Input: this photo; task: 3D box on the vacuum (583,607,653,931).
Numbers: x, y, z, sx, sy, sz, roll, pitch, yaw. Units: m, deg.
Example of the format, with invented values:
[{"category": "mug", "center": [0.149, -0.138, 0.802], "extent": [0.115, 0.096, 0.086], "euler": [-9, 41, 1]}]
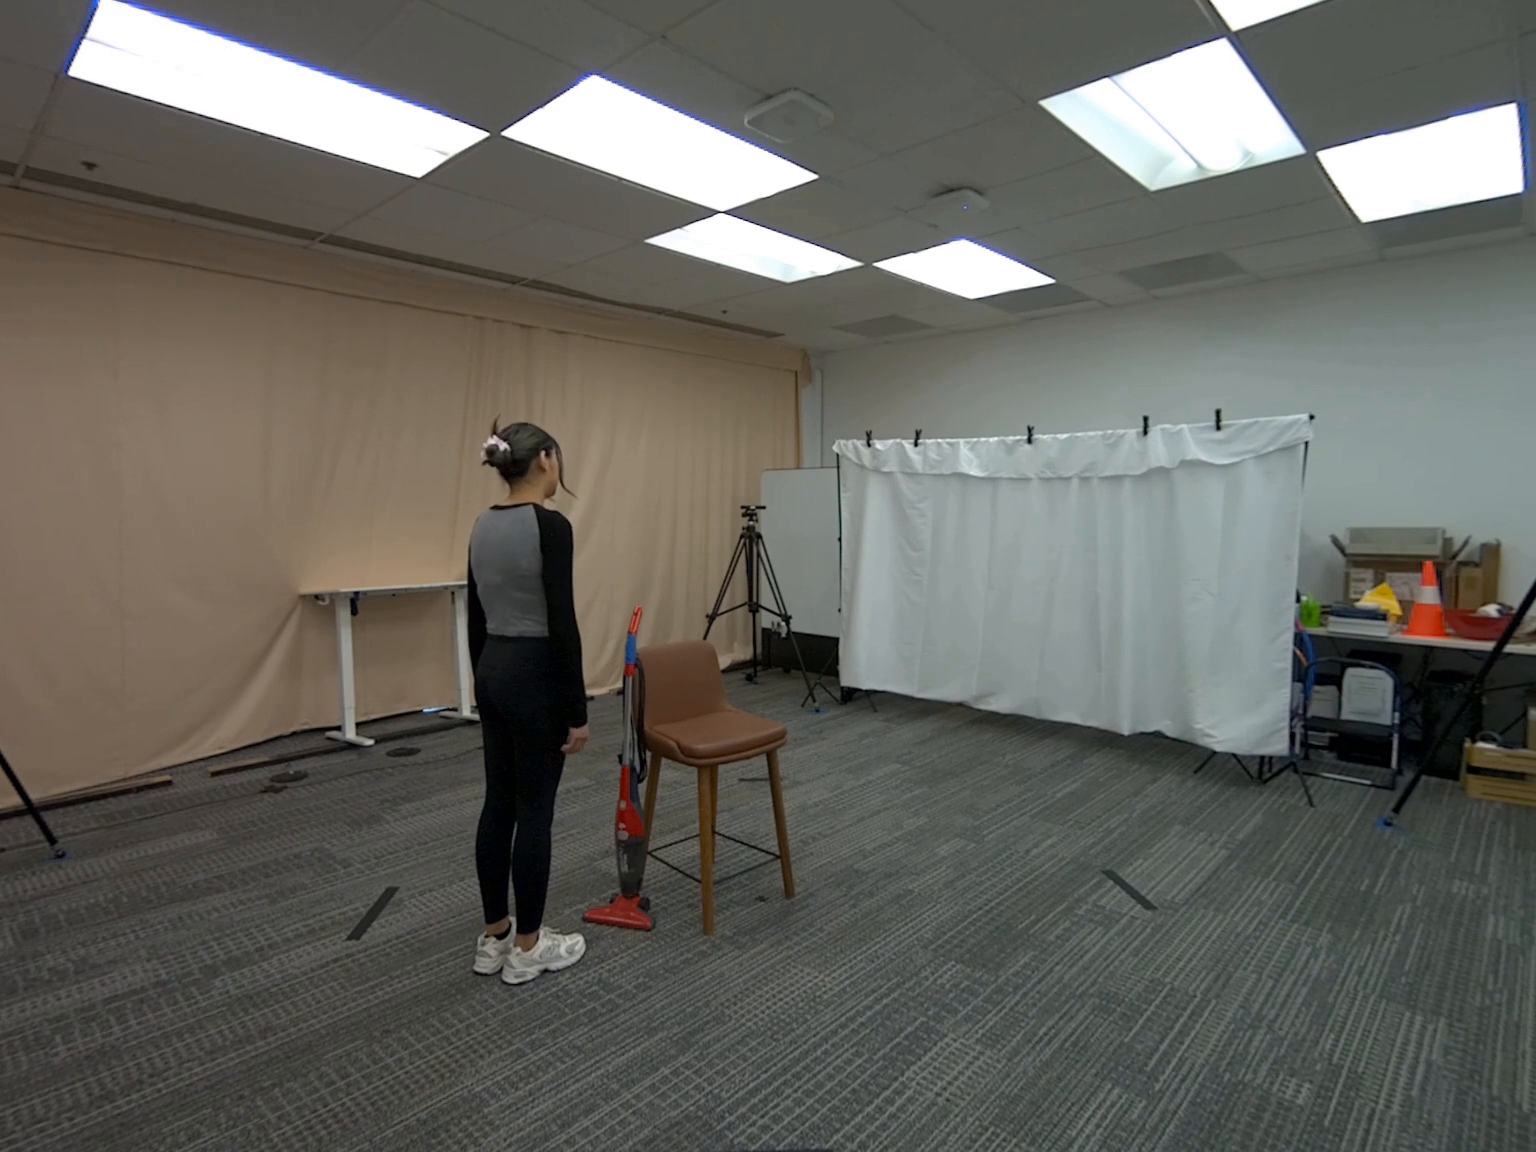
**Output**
[{"category": "vacuum", "center": [-0.471, 0.638, 2.897], "extent": [0.244, 1.048, 0.149], "euler": [3, 3, -39]}]
